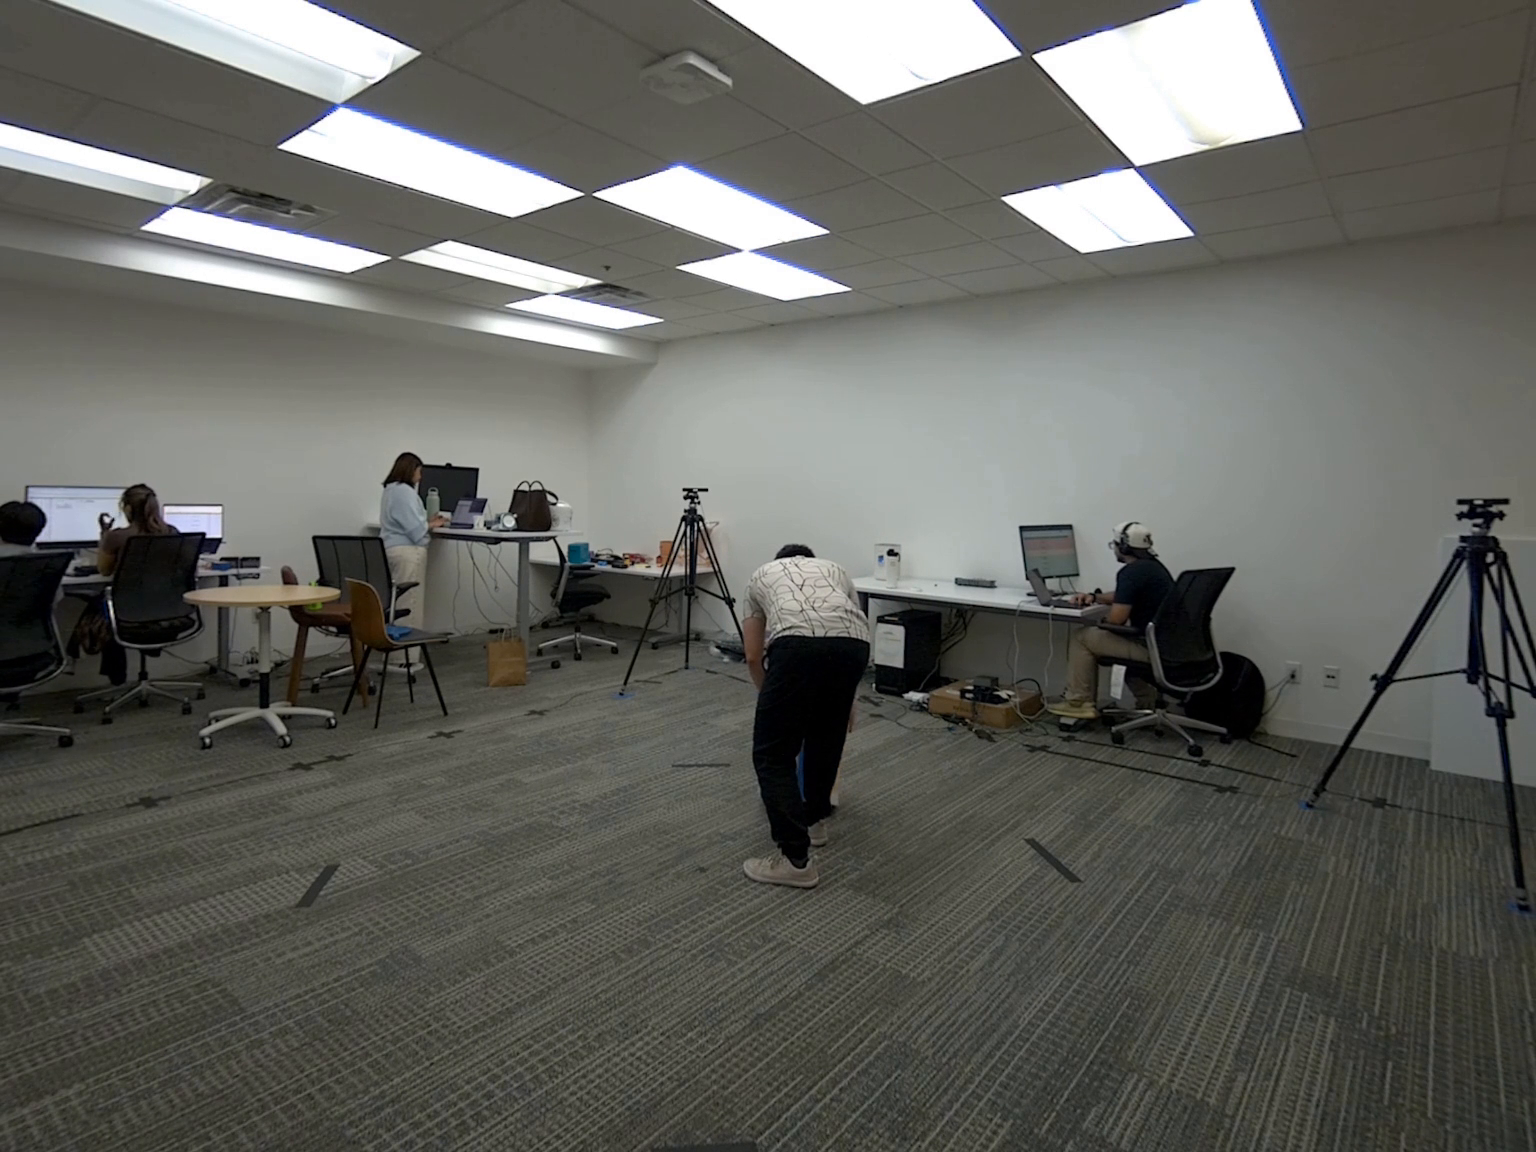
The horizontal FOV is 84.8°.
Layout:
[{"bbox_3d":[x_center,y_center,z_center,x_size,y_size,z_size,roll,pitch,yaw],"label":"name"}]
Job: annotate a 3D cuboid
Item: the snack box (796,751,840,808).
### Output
[{"bbox_3d":[0.148,0.776,3.768,0.343,0.409,0.202,6,-12,6],"label":"snack box"}]
